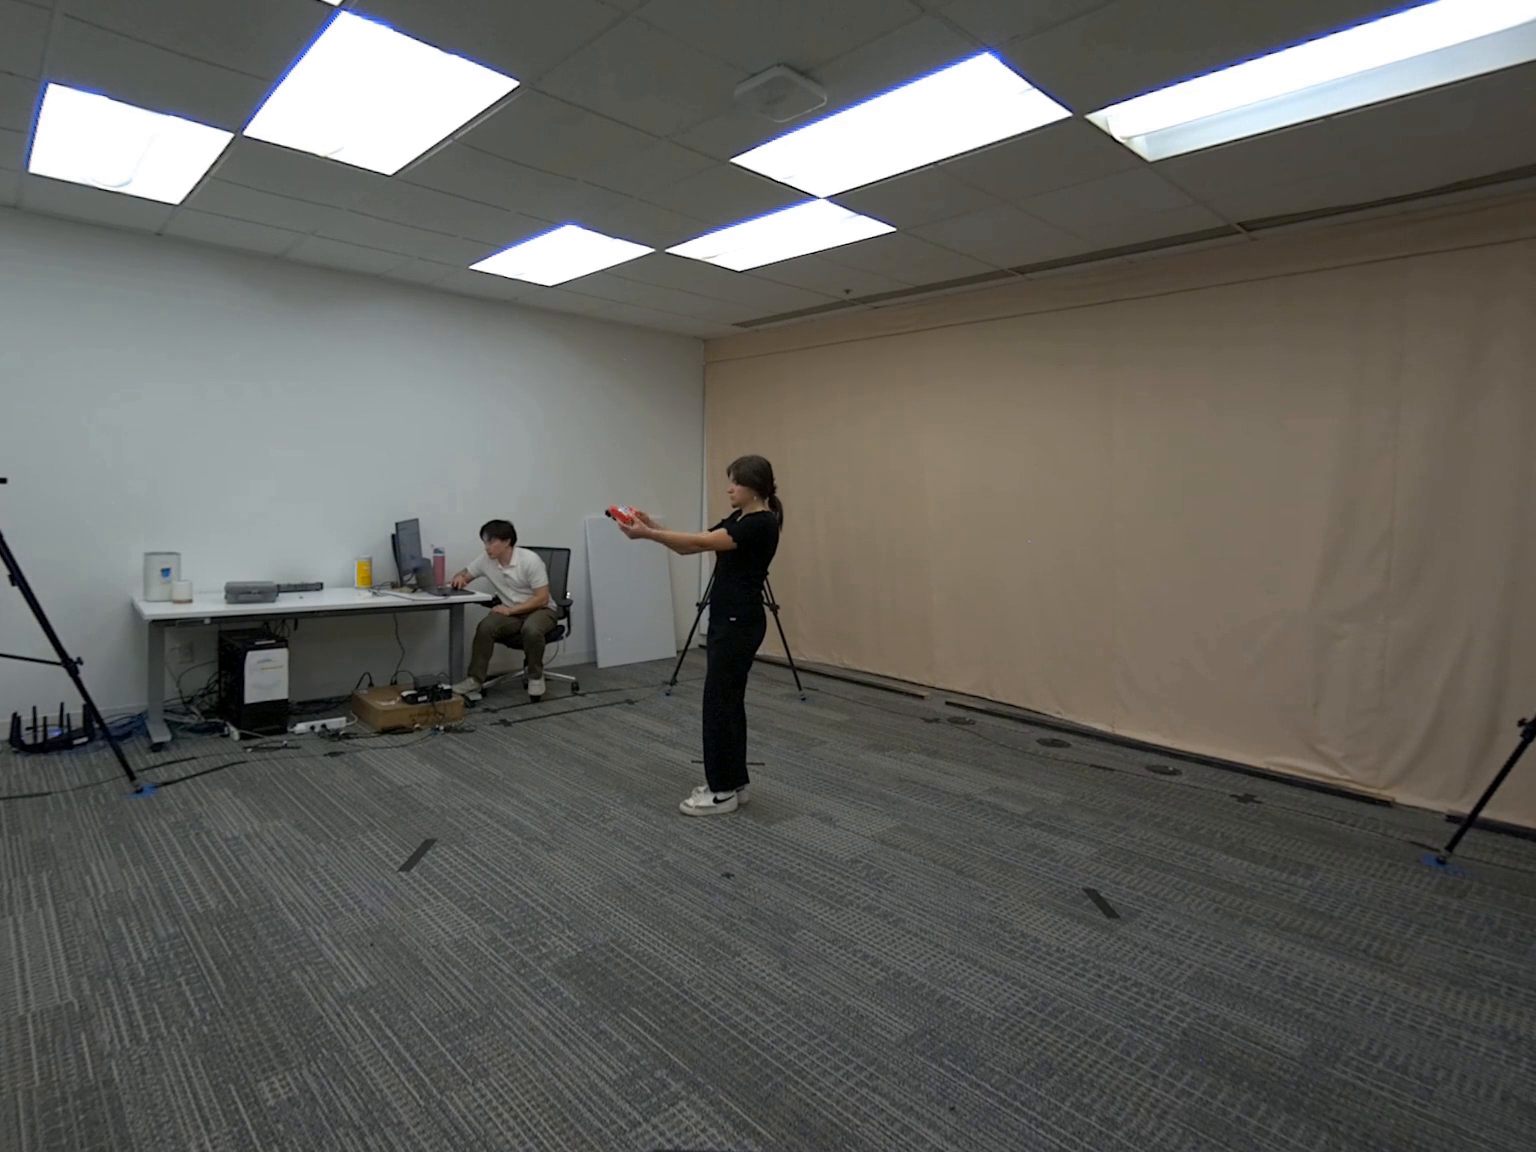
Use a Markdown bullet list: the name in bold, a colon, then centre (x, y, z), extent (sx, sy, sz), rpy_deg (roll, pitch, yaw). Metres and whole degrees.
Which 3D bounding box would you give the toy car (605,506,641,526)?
- **toy car**: centre (-0.634, -0.247, 3.629), extent (0.131, 0.083, 0.253), rpy_deg (34, 10, 4)
